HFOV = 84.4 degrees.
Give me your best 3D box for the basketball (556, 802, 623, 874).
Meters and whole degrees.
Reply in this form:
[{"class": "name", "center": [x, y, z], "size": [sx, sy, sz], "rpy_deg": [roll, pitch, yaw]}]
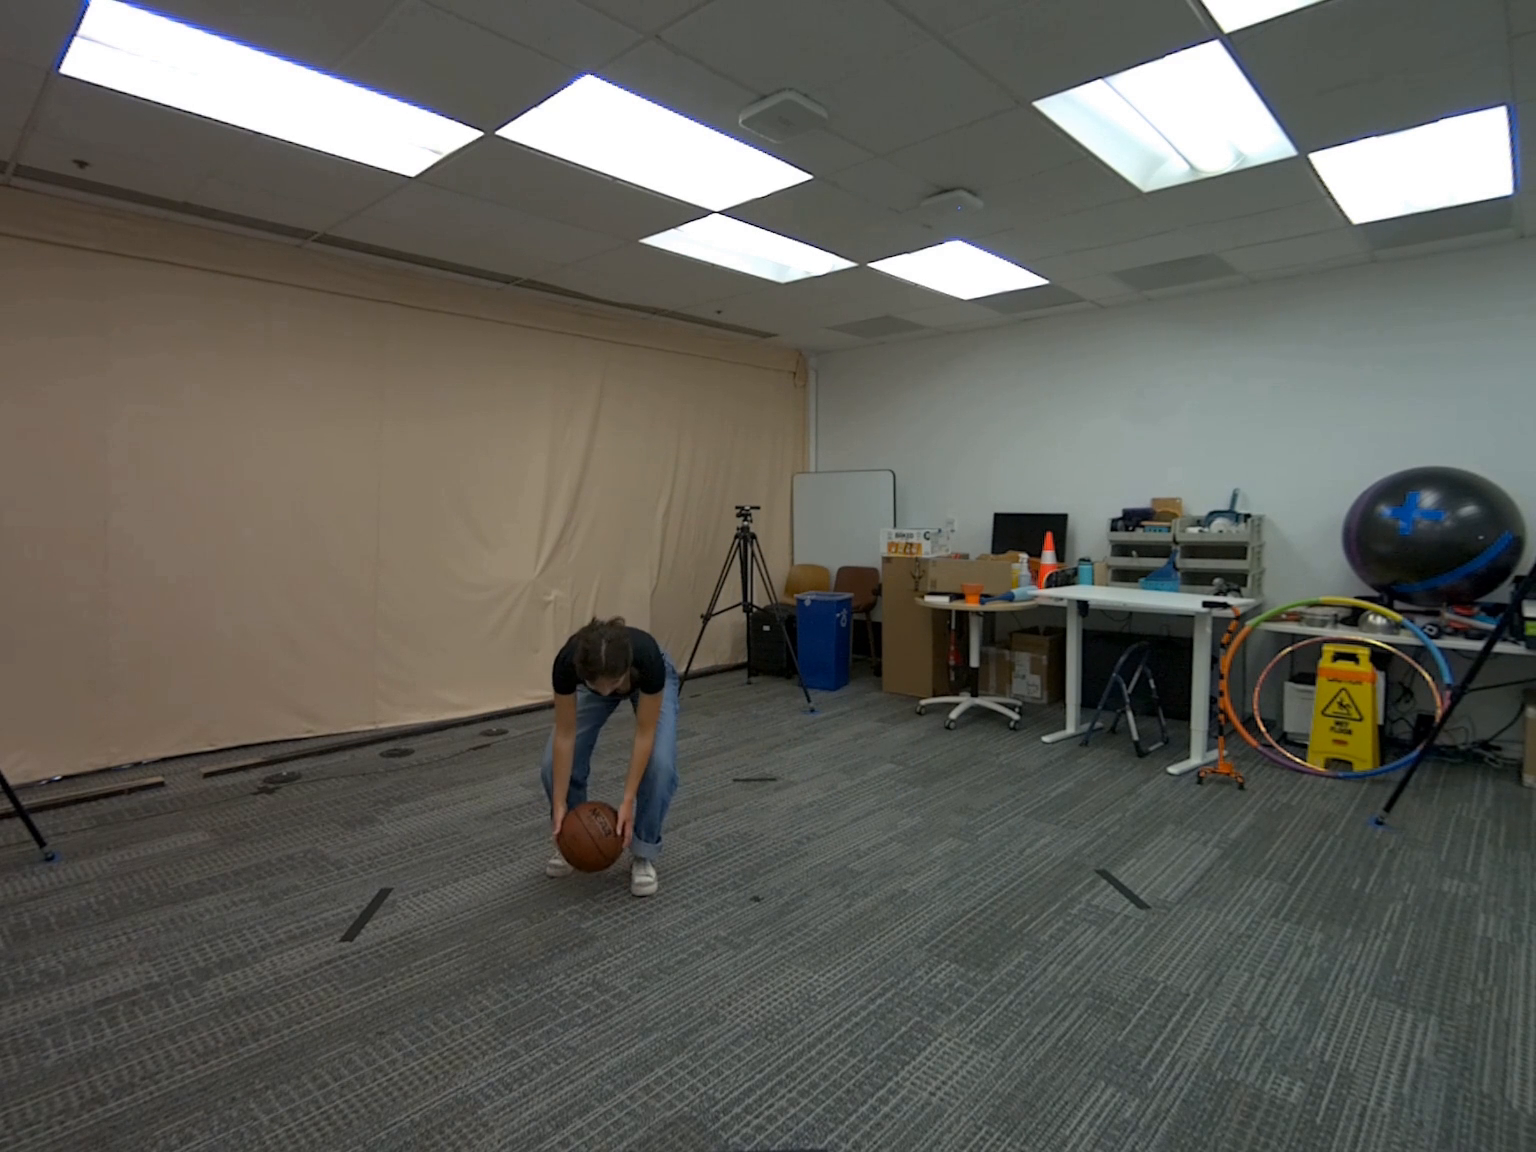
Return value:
[{"class": "basketball", "center": [-0.621, 0.908, 2.960], "size": [0.236, 0.235, 0.237], "rpy_deg": [0, 4, -2]}]
